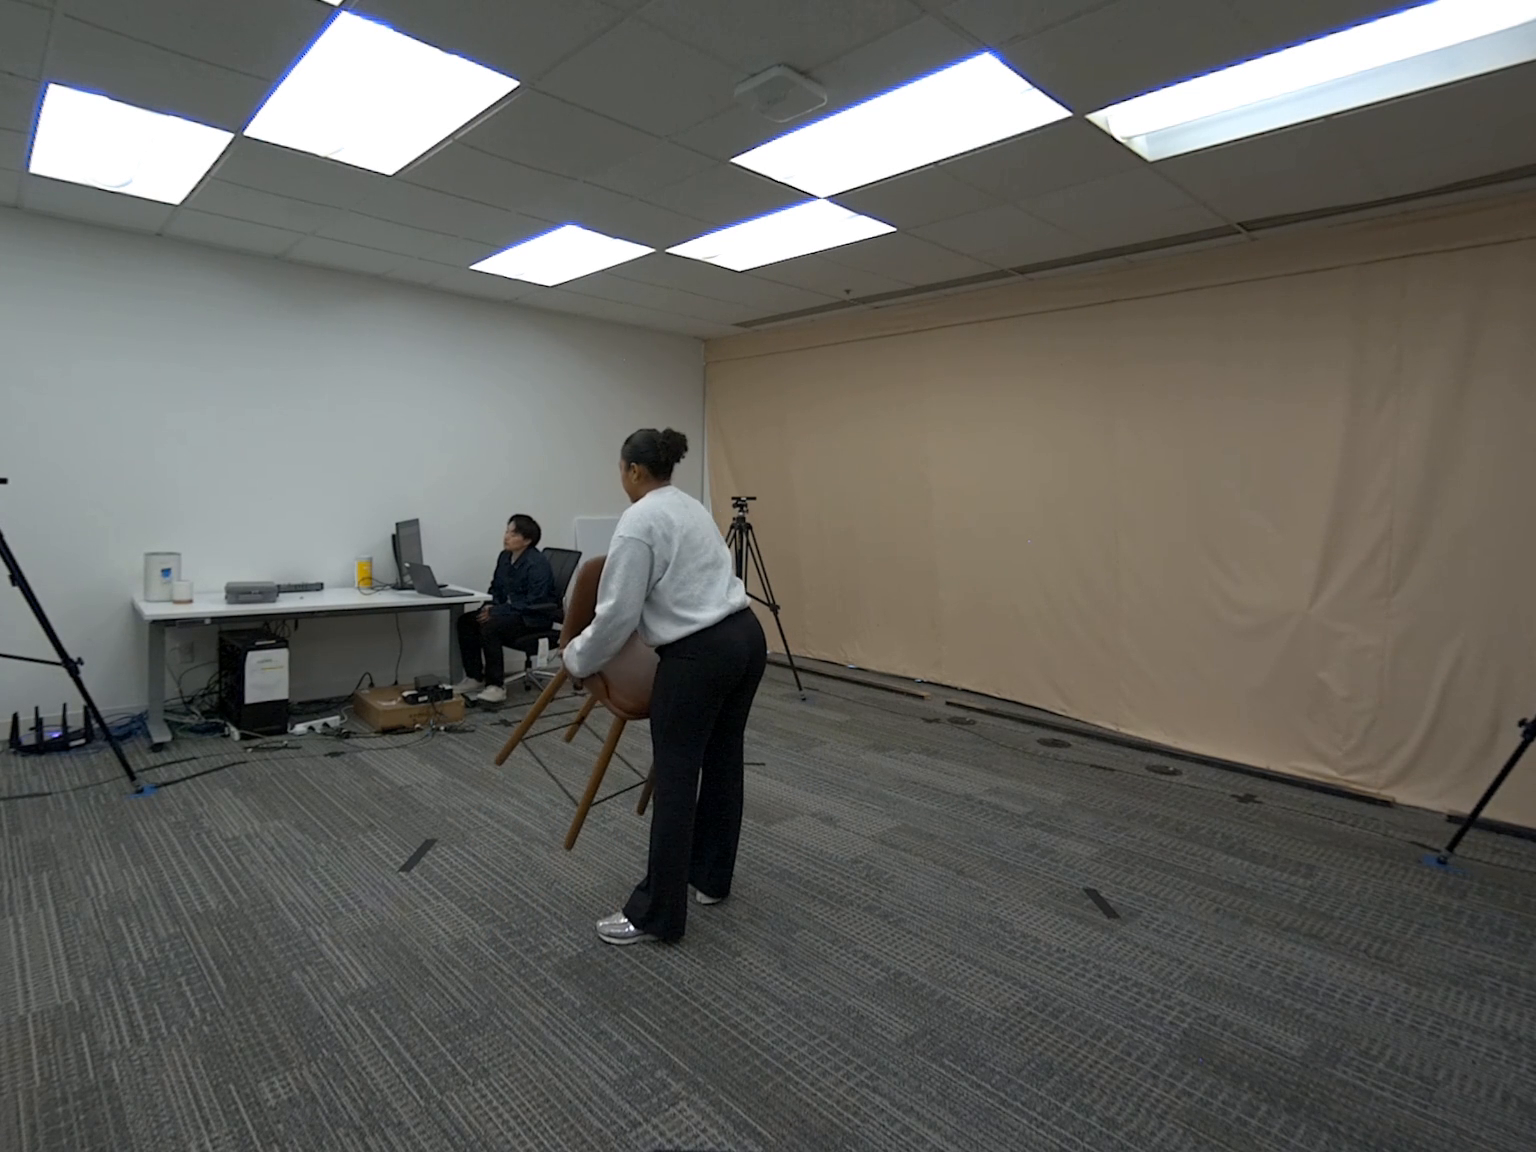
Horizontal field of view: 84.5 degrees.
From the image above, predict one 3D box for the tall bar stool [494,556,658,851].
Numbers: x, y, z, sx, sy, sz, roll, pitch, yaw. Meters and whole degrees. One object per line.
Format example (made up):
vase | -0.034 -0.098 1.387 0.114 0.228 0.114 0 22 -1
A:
tall bar stool | -0.547 0.431 2.945 0.480 0.884 0.447 35 21 26
